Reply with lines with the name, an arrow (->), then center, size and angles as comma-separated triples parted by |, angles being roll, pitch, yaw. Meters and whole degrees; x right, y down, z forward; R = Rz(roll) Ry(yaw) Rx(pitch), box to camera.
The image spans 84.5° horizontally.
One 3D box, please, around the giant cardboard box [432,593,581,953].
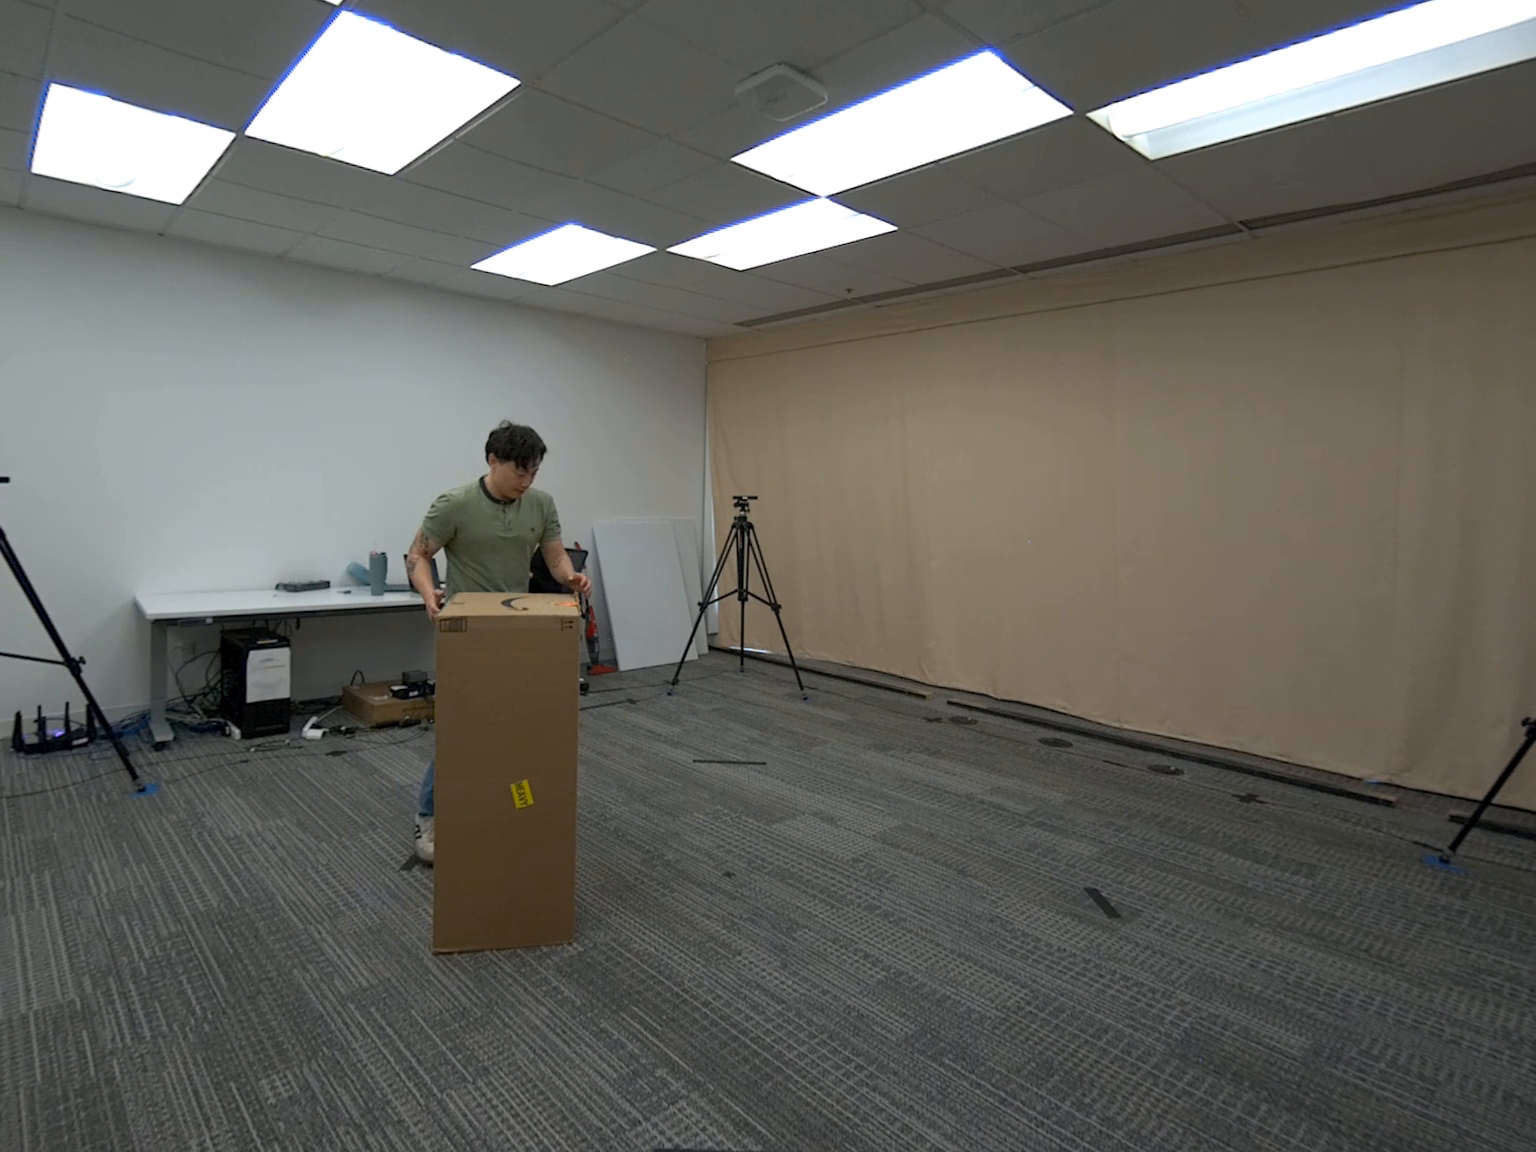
giant cardboard box -> -0.861, 0.604, 2.810 | 0.422, 1.023, 0.585 | 1, 3, -14
